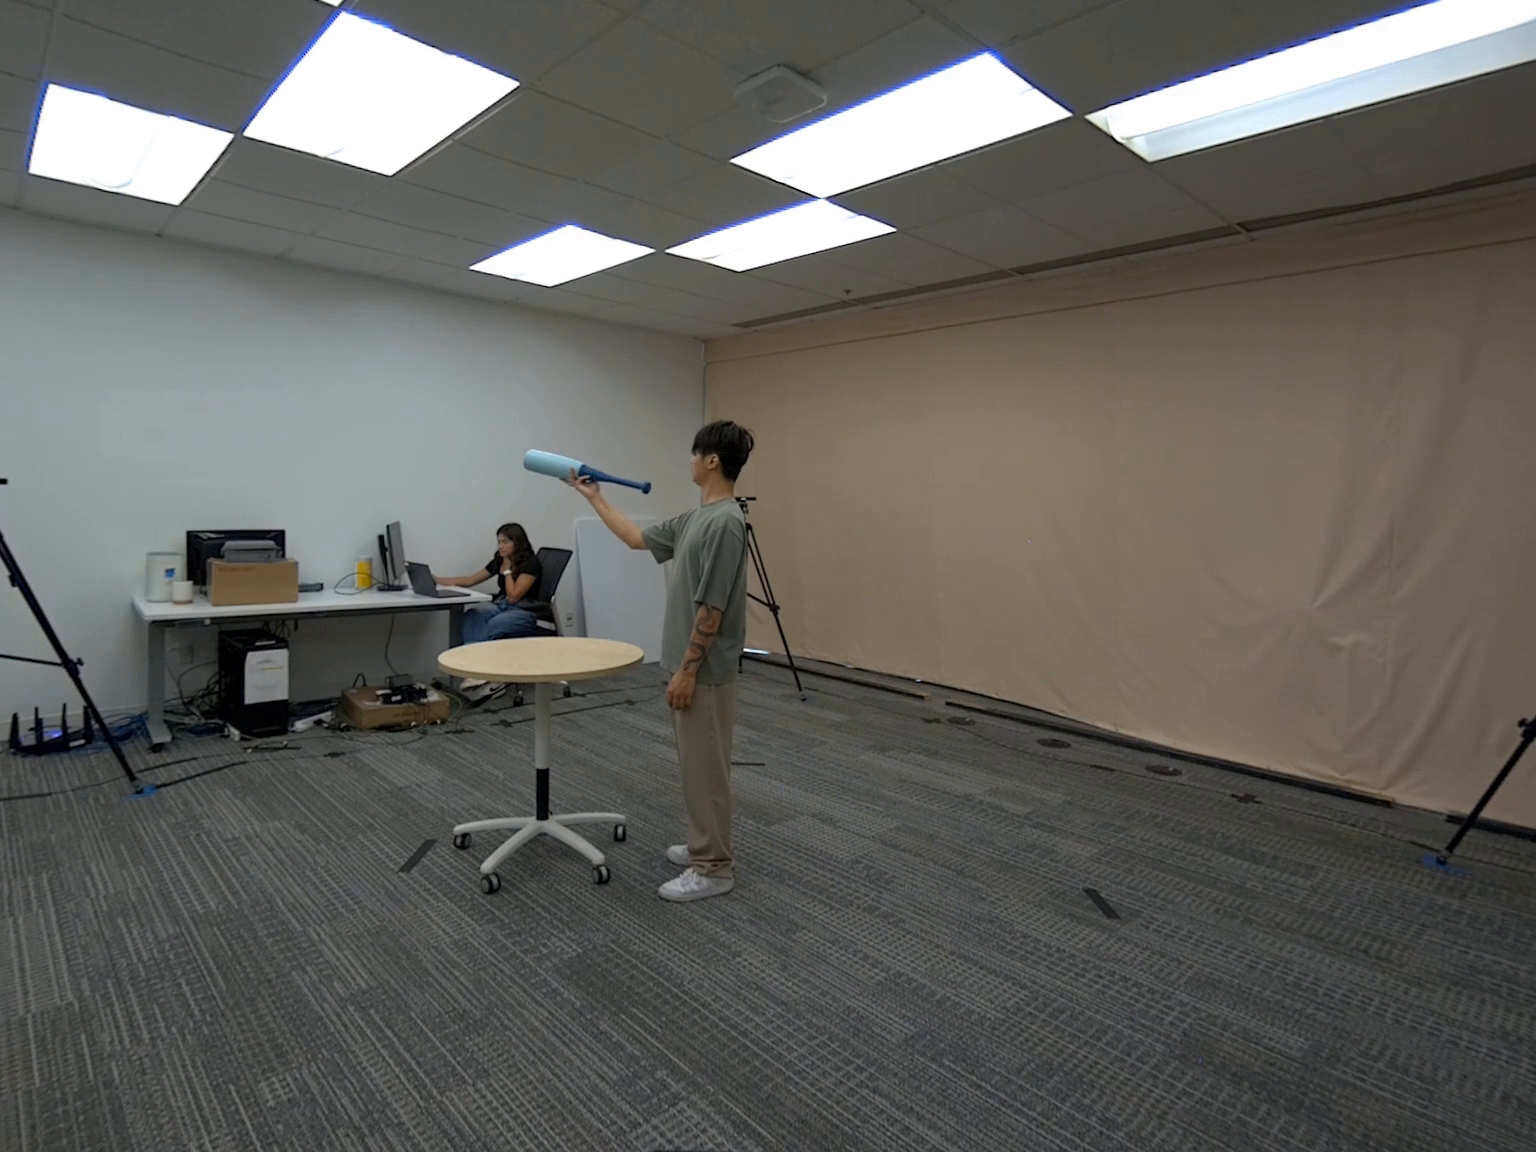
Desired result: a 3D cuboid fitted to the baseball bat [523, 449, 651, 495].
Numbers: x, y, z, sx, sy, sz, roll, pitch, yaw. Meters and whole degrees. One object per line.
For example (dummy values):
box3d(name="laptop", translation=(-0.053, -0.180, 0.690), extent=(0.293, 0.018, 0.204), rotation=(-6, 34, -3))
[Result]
box3d(name="baseball bat", translation=(-0.712, -0.403, 3.299), extent=(0.551, 0.089, 0.088), rotation=(15, 8, 15))
